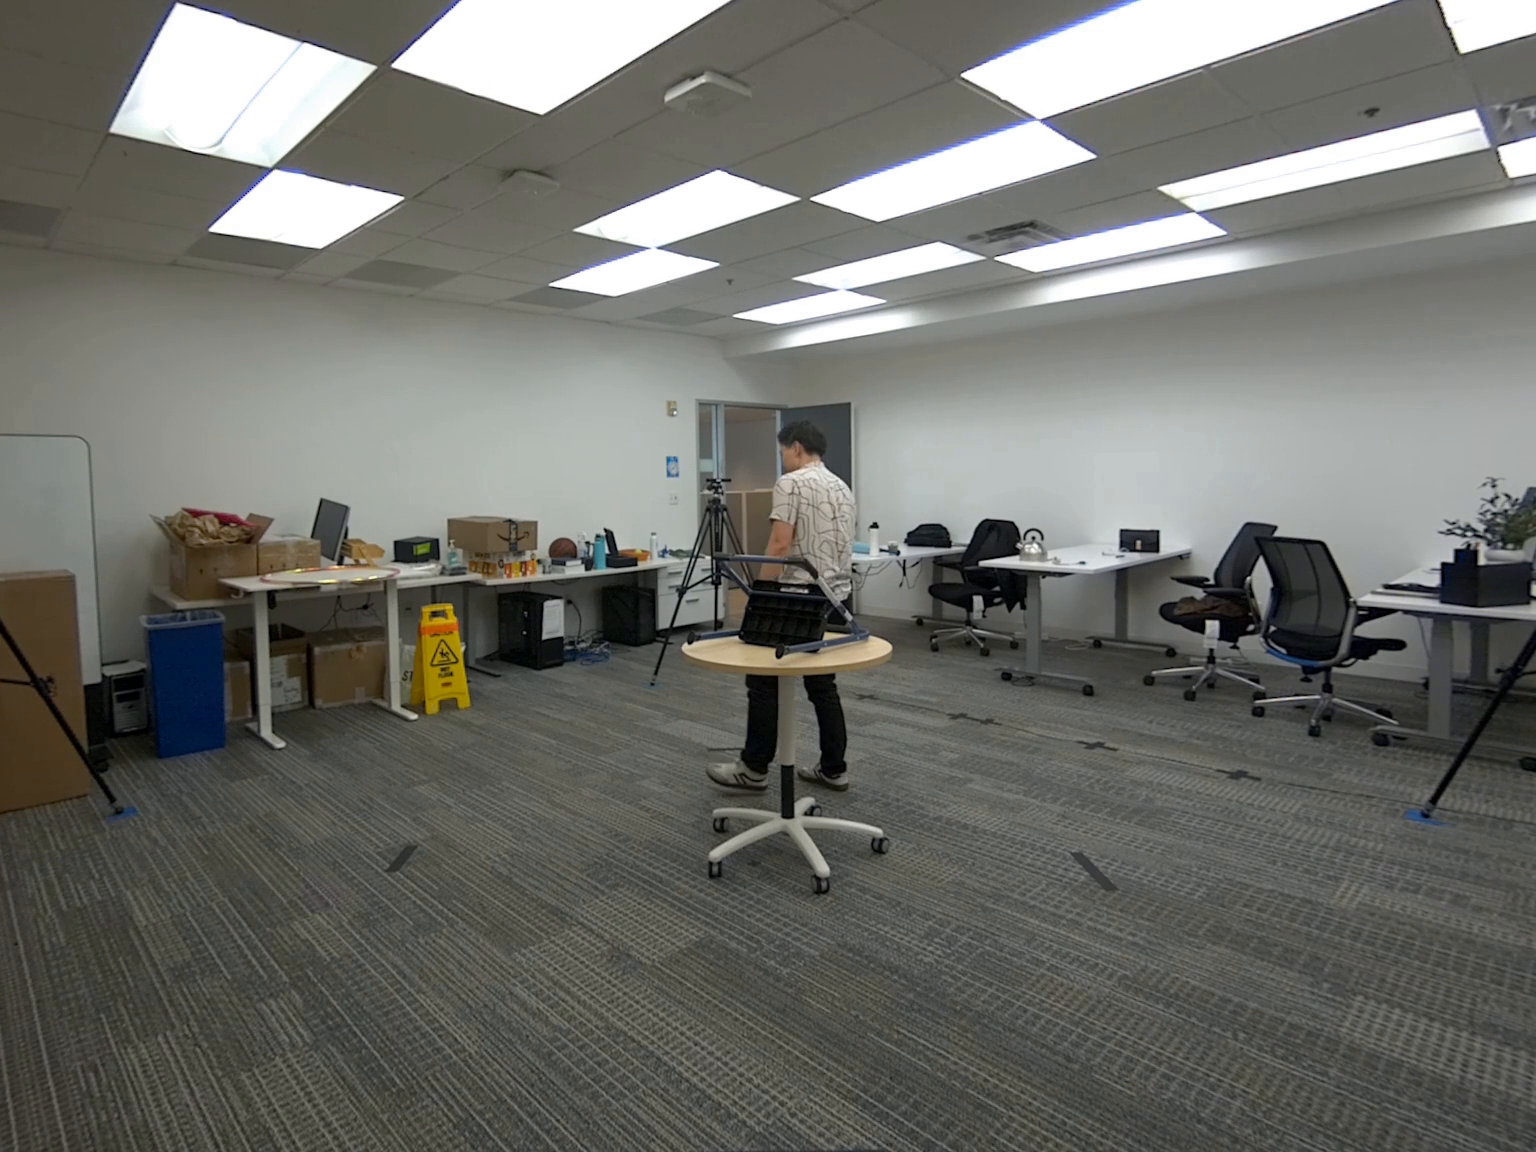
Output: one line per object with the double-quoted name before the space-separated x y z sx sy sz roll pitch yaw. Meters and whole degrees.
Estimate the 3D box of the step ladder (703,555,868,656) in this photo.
"step ladder" 0.080 0.186 3.162 0.444 0.352 0.583 4 -17 39
